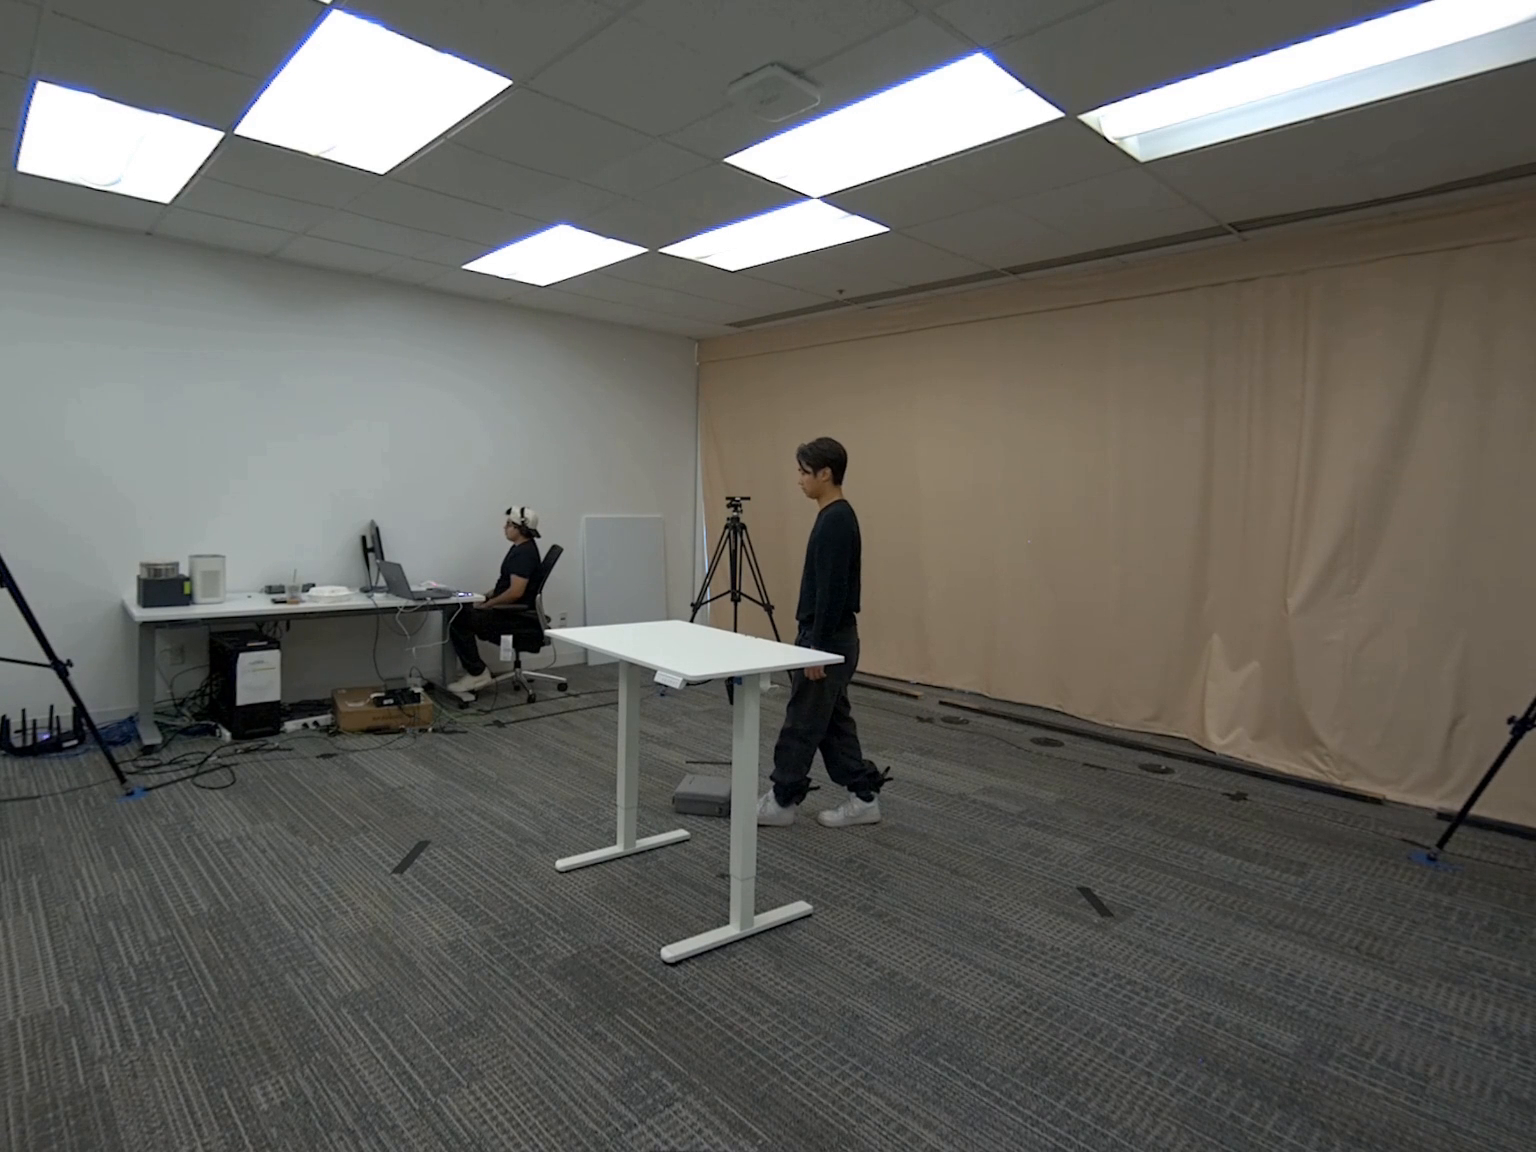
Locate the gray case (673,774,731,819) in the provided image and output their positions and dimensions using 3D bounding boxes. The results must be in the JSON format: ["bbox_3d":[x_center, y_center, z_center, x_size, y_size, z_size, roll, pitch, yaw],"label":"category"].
[{"bbox_3d":[-0.282,0.978,3.806,0.263,0.104,0.255,2,4,10],"label":"gray case"}]
